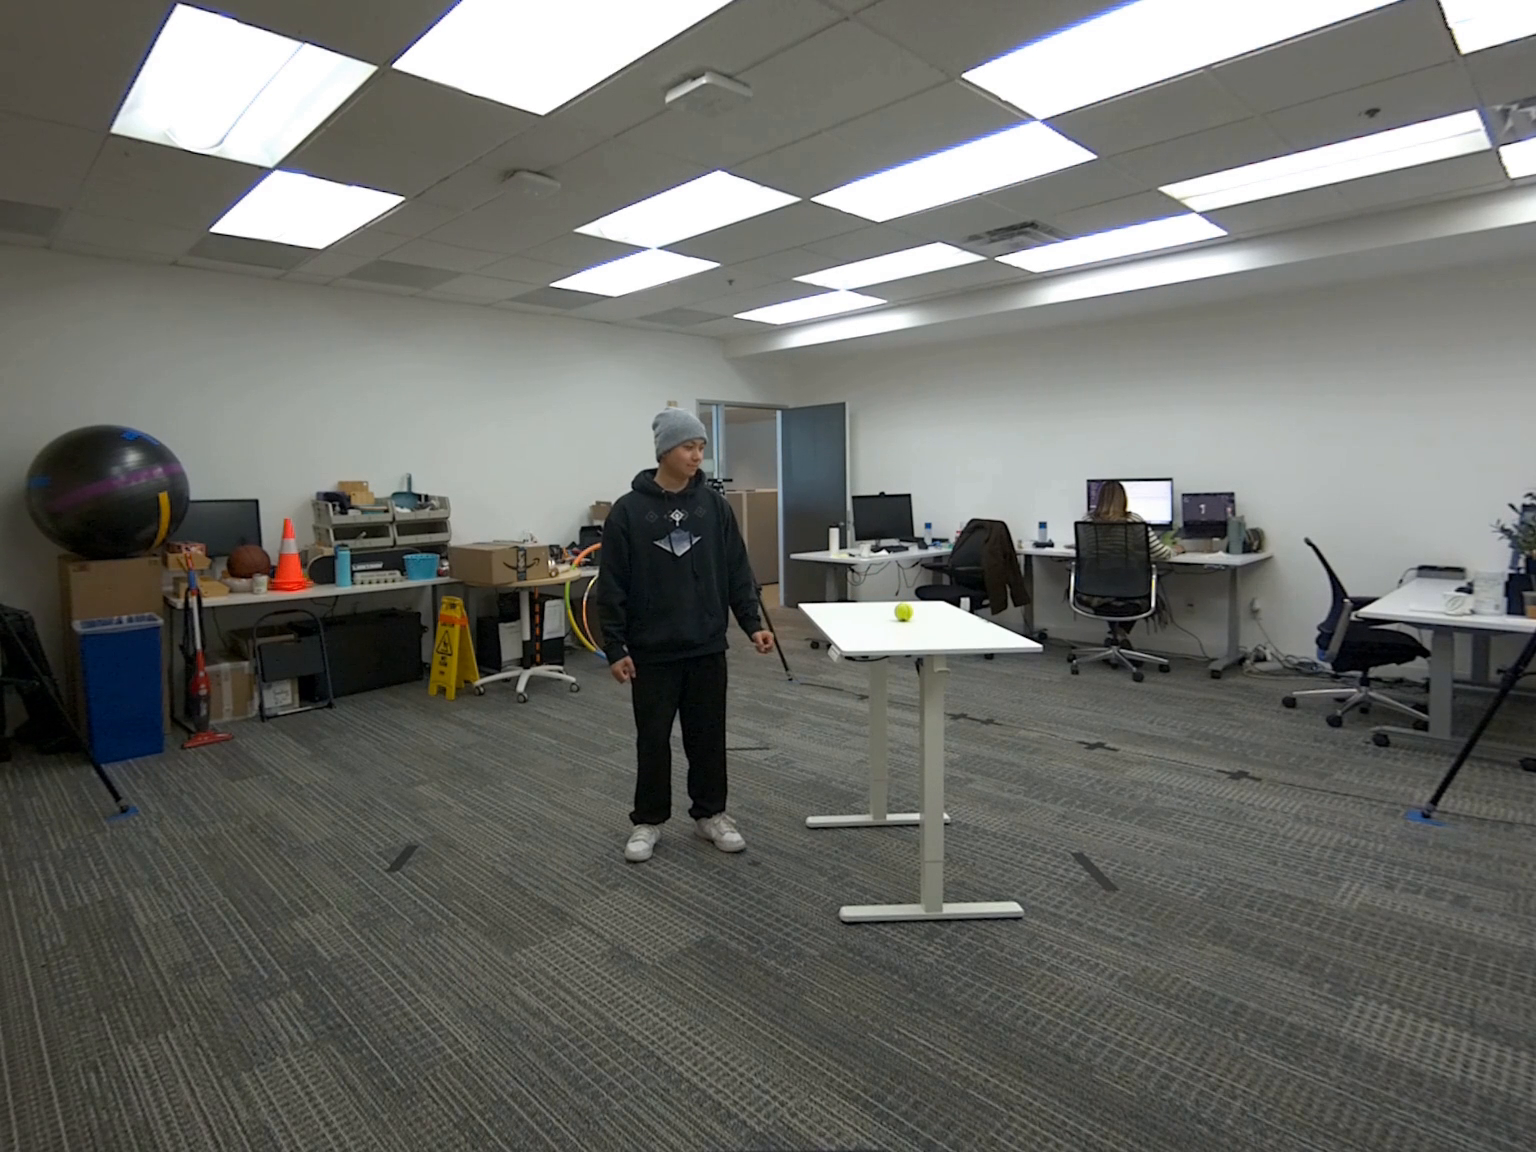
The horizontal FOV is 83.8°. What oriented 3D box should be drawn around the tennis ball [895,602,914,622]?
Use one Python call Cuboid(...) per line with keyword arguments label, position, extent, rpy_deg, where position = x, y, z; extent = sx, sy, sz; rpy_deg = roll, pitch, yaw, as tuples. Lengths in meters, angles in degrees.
Cuboid(label="tennis ball", position=(0.475, 0.128, 3.046), extent=(0.066, 0.066, 0.067), rpy_deg=(-1, 5, -2))
